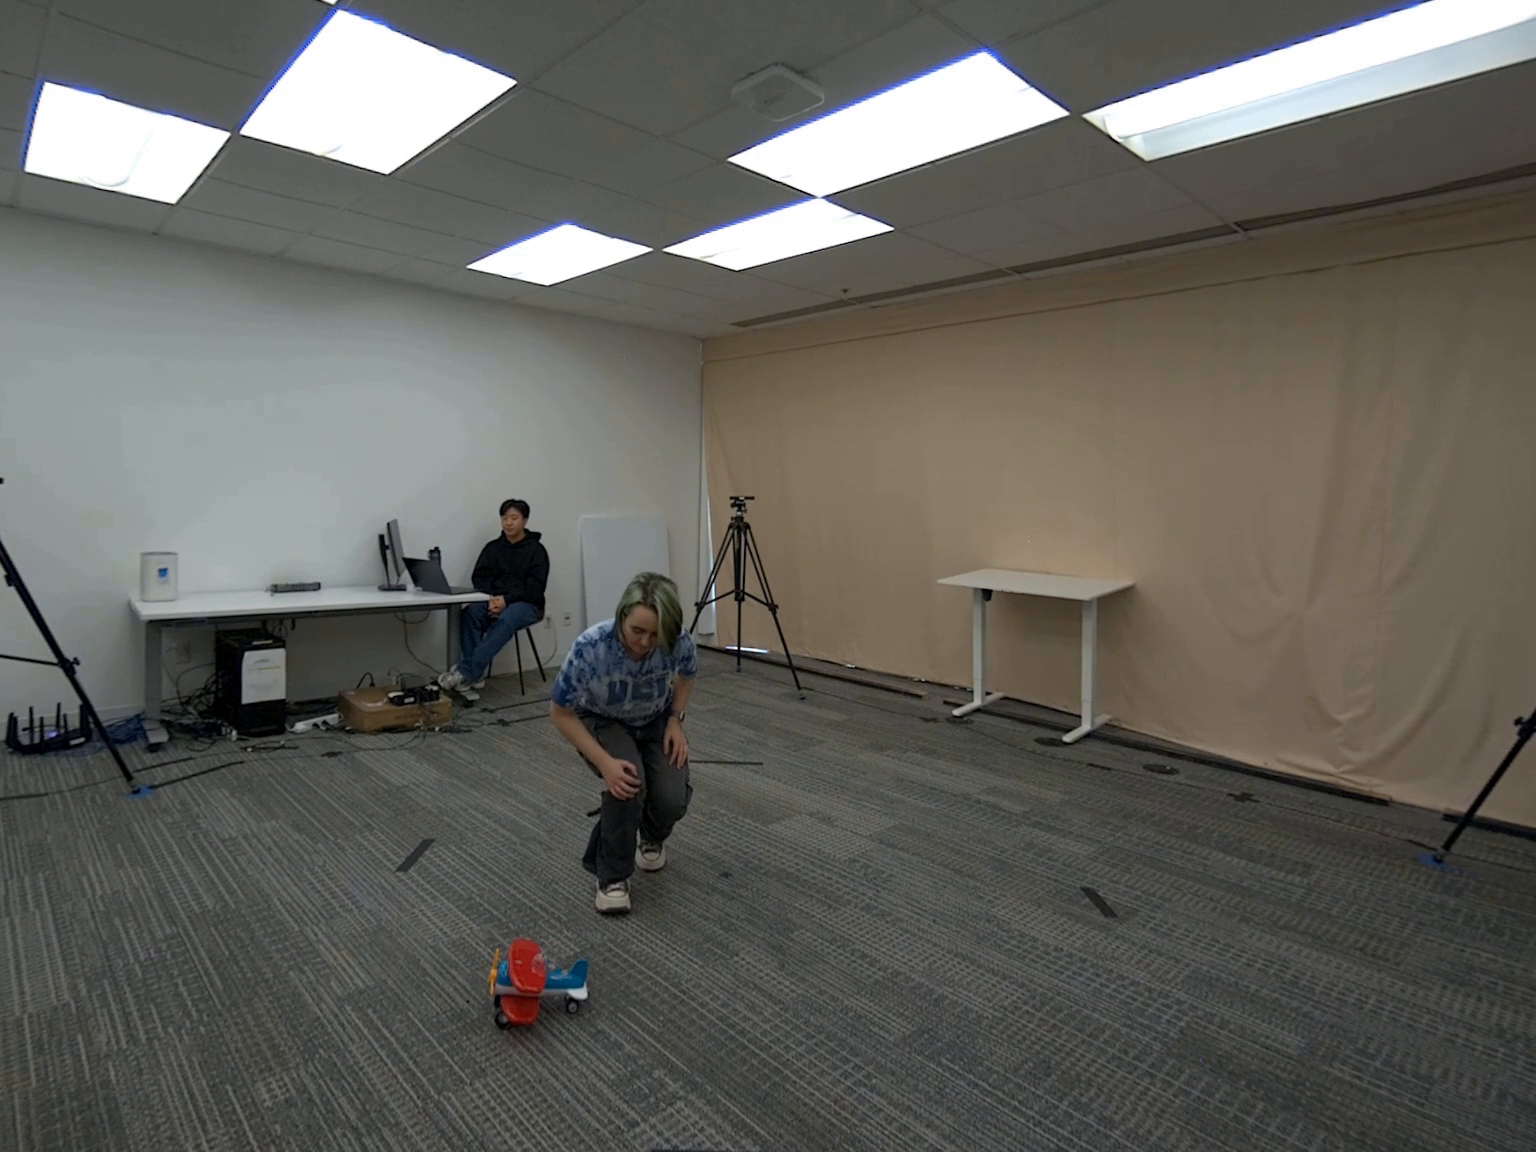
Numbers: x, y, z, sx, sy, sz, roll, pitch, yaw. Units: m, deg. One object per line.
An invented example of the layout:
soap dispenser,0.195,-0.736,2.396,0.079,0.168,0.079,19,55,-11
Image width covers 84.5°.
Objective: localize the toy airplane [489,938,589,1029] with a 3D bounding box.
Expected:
toy airplane,-0.635,1.103,2.260,0.257,0.156,0.253,6,8,45
